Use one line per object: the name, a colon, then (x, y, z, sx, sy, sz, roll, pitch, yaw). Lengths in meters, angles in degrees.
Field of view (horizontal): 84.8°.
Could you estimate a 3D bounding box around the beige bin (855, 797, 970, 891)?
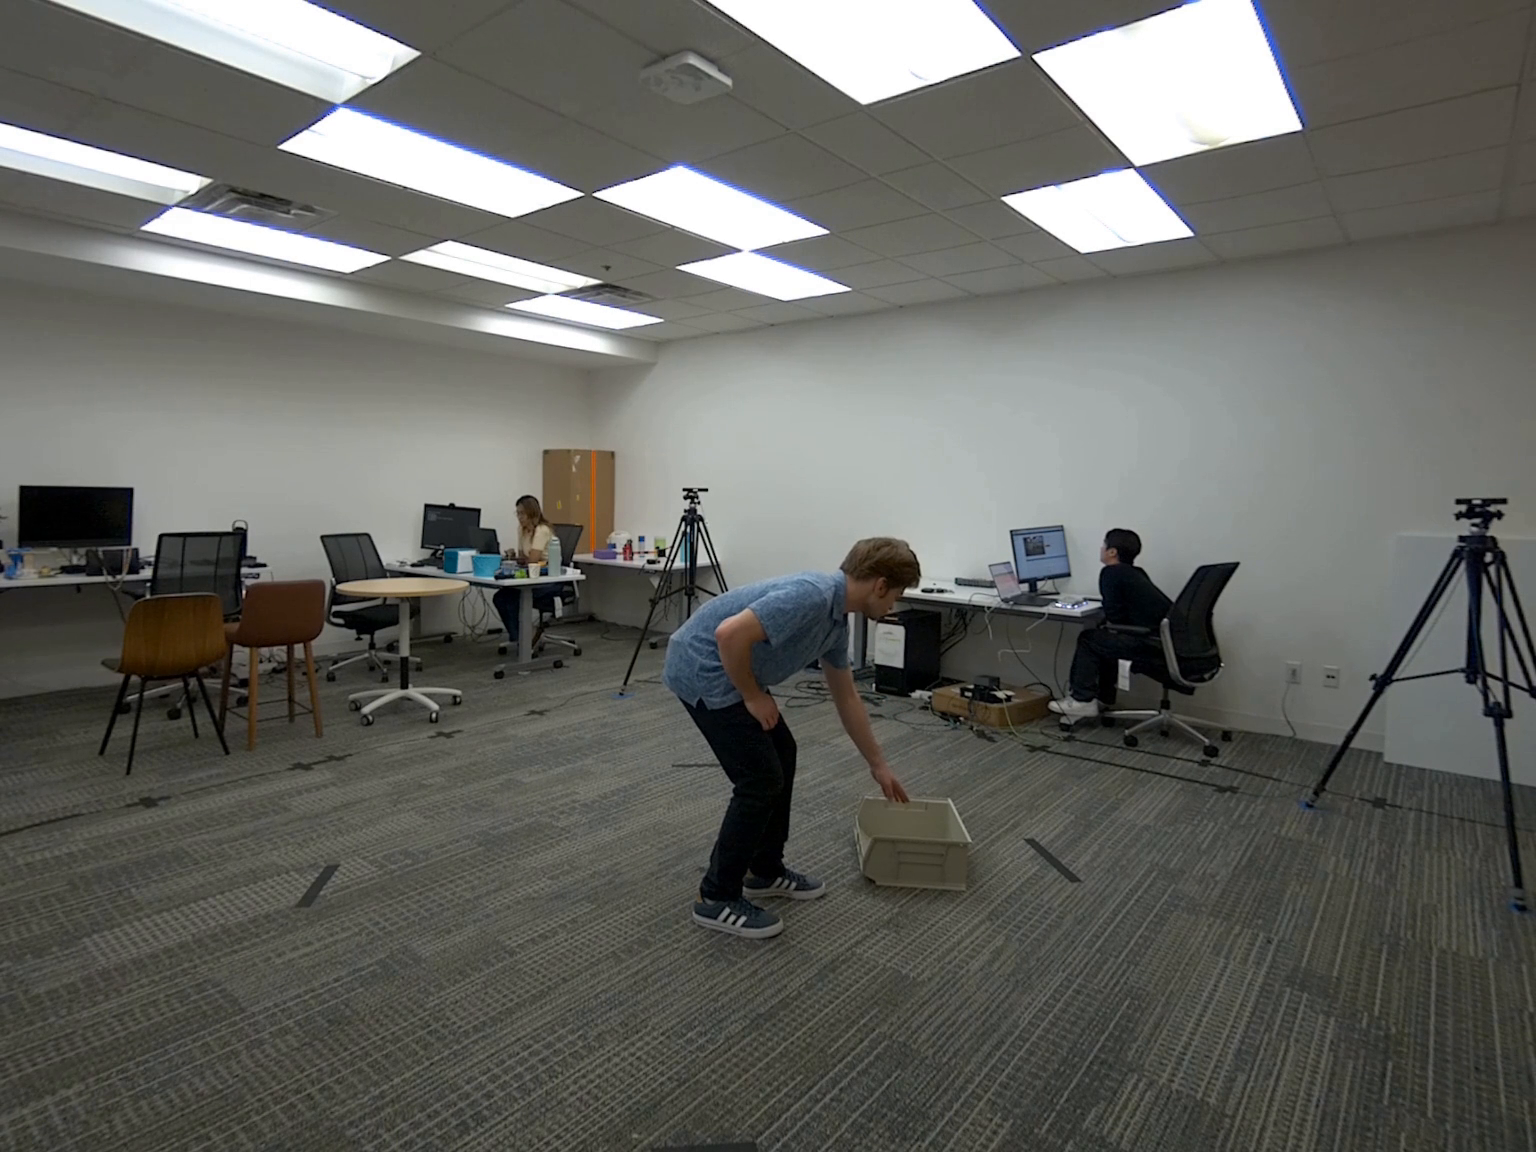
beige bin: (0.524, 0.988, 3.201, 0.379, 0.188, 0.422, 2, 5, 2)
